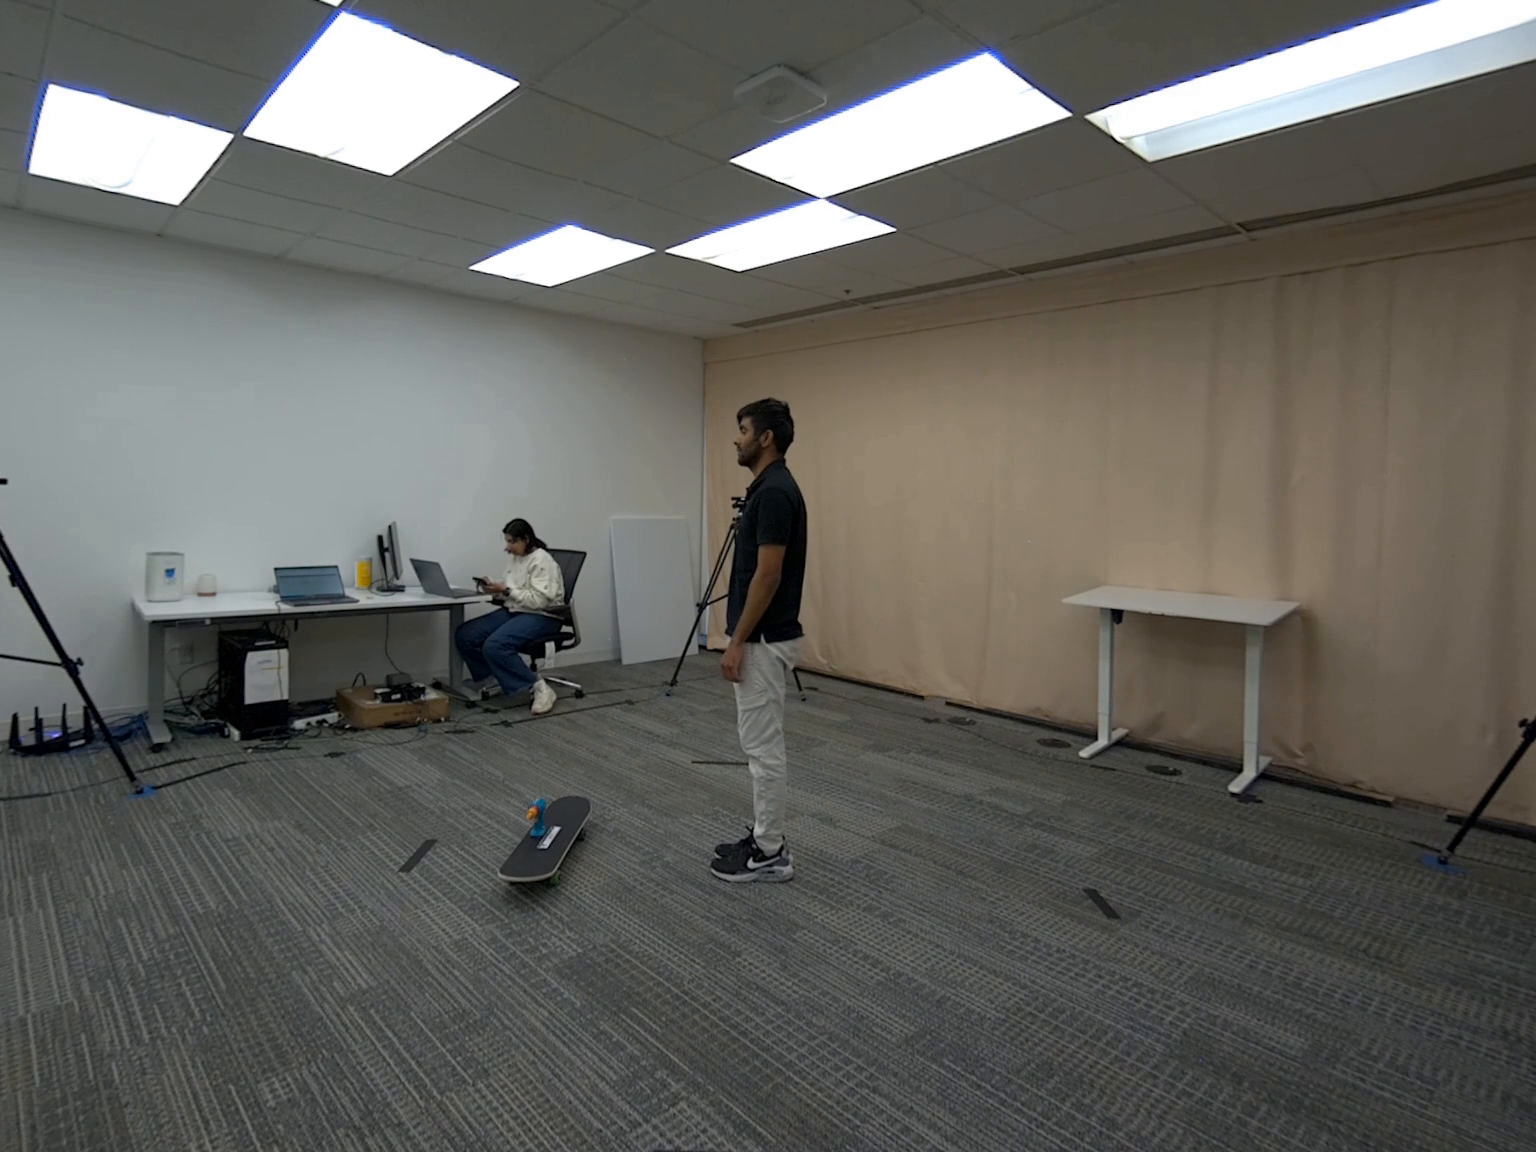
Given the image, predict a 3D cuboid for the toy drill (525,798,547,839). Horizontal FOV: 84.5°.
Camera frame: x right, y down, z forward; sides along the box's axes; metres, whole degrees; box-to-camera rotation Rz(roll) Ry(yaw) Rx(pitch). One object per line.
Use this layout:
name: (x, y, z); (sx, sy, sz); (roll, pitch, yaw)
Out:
toy drill: (-0.878, 0.915, 3.176); (0.061, 0.145, 0.170); (4, 5, 3)
